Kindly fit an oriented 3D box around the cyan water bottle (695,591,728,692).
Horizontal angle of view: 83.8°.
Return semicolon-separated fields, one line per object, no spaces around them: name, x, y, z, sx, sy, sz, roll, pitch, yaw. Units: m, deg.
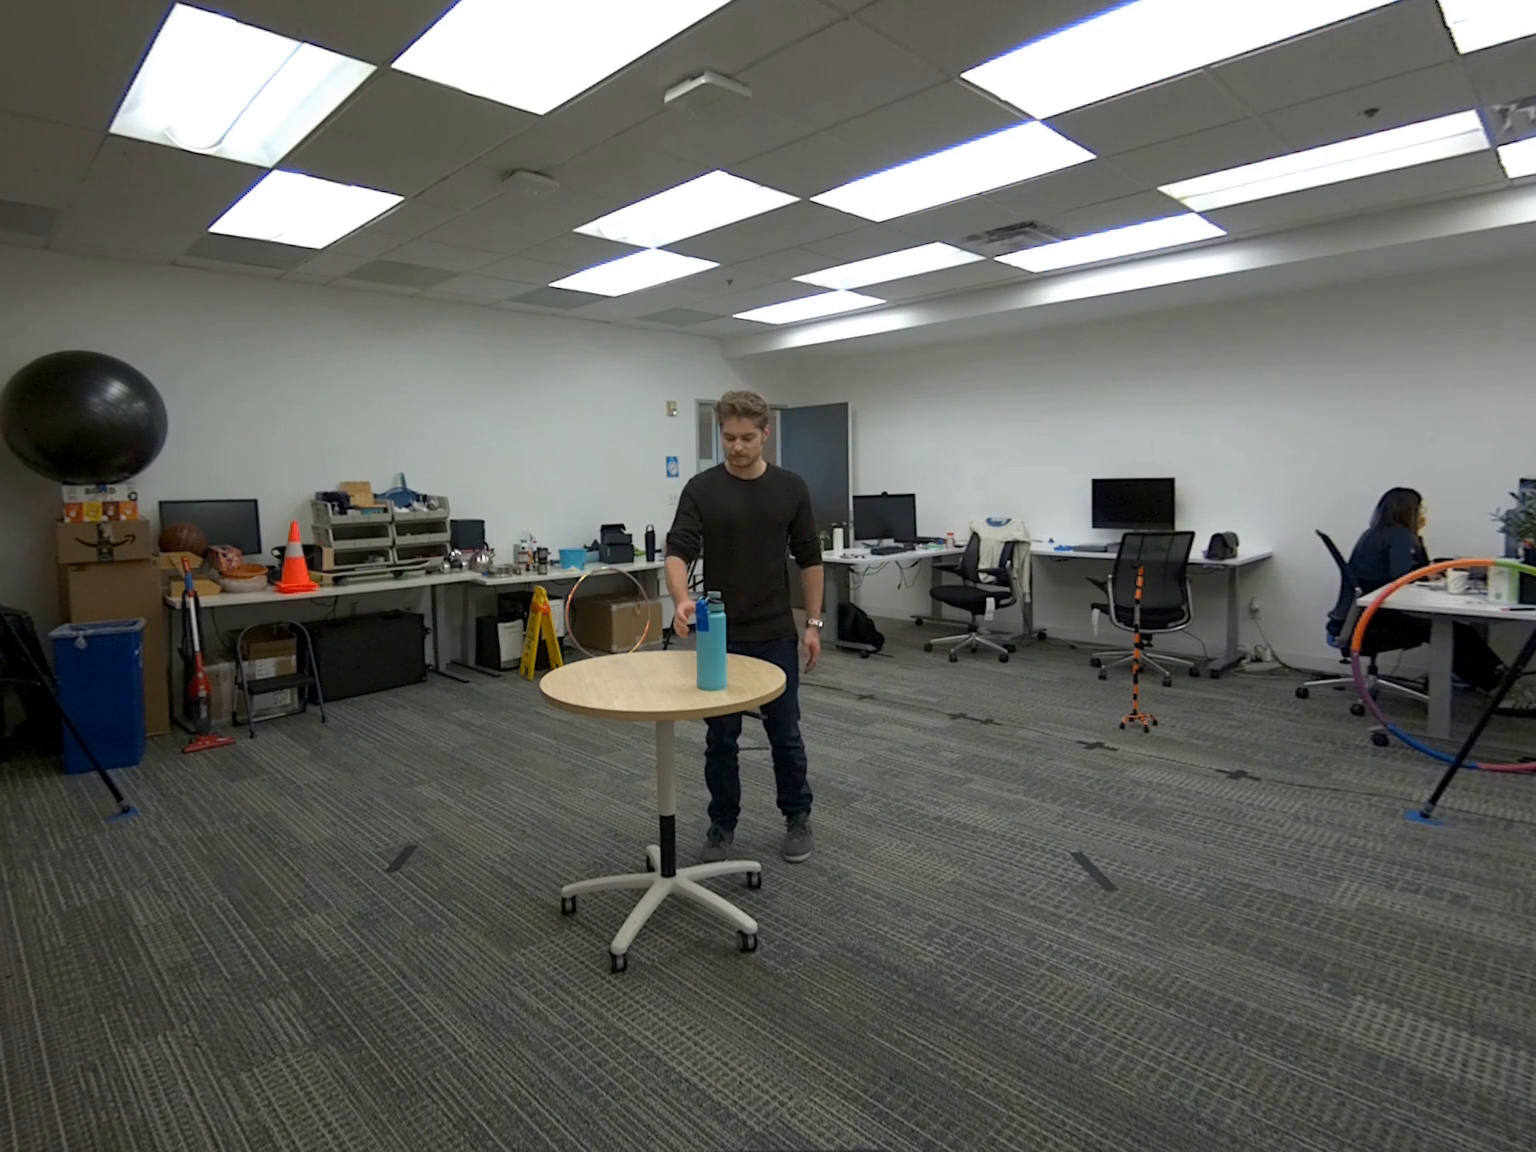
cyan water bottle;-0.171;0.194;2.540;0.092;0.282;0.093;-4;5;-1
